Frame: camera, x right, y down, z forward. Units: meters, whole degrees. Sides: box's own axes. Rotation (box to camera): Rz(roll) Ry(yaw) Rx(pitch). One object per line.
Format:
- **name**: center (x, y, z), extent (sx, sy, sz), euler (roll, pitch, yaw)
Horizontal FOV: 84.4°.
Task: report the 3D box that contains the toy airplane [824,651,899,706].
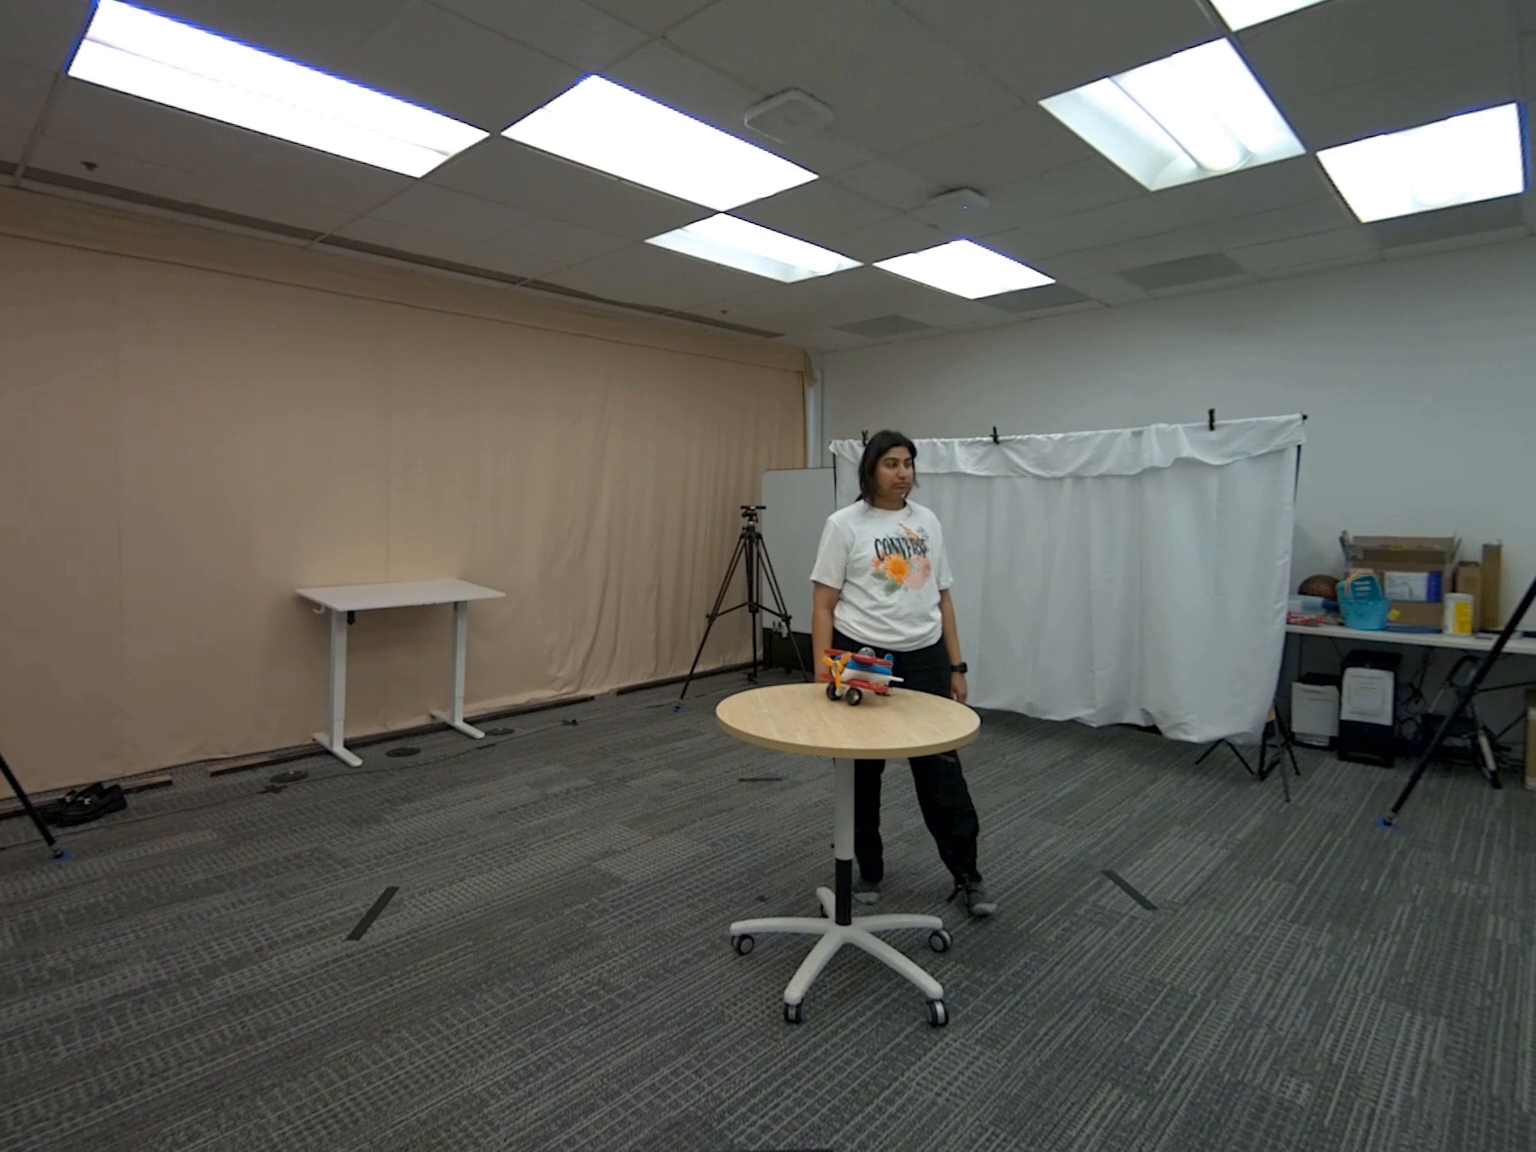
- **toy airplane**: center (0.286, 0.307, 2.662), extent (0.257, 0.156, 0.253), euler (1, 5, 24)
